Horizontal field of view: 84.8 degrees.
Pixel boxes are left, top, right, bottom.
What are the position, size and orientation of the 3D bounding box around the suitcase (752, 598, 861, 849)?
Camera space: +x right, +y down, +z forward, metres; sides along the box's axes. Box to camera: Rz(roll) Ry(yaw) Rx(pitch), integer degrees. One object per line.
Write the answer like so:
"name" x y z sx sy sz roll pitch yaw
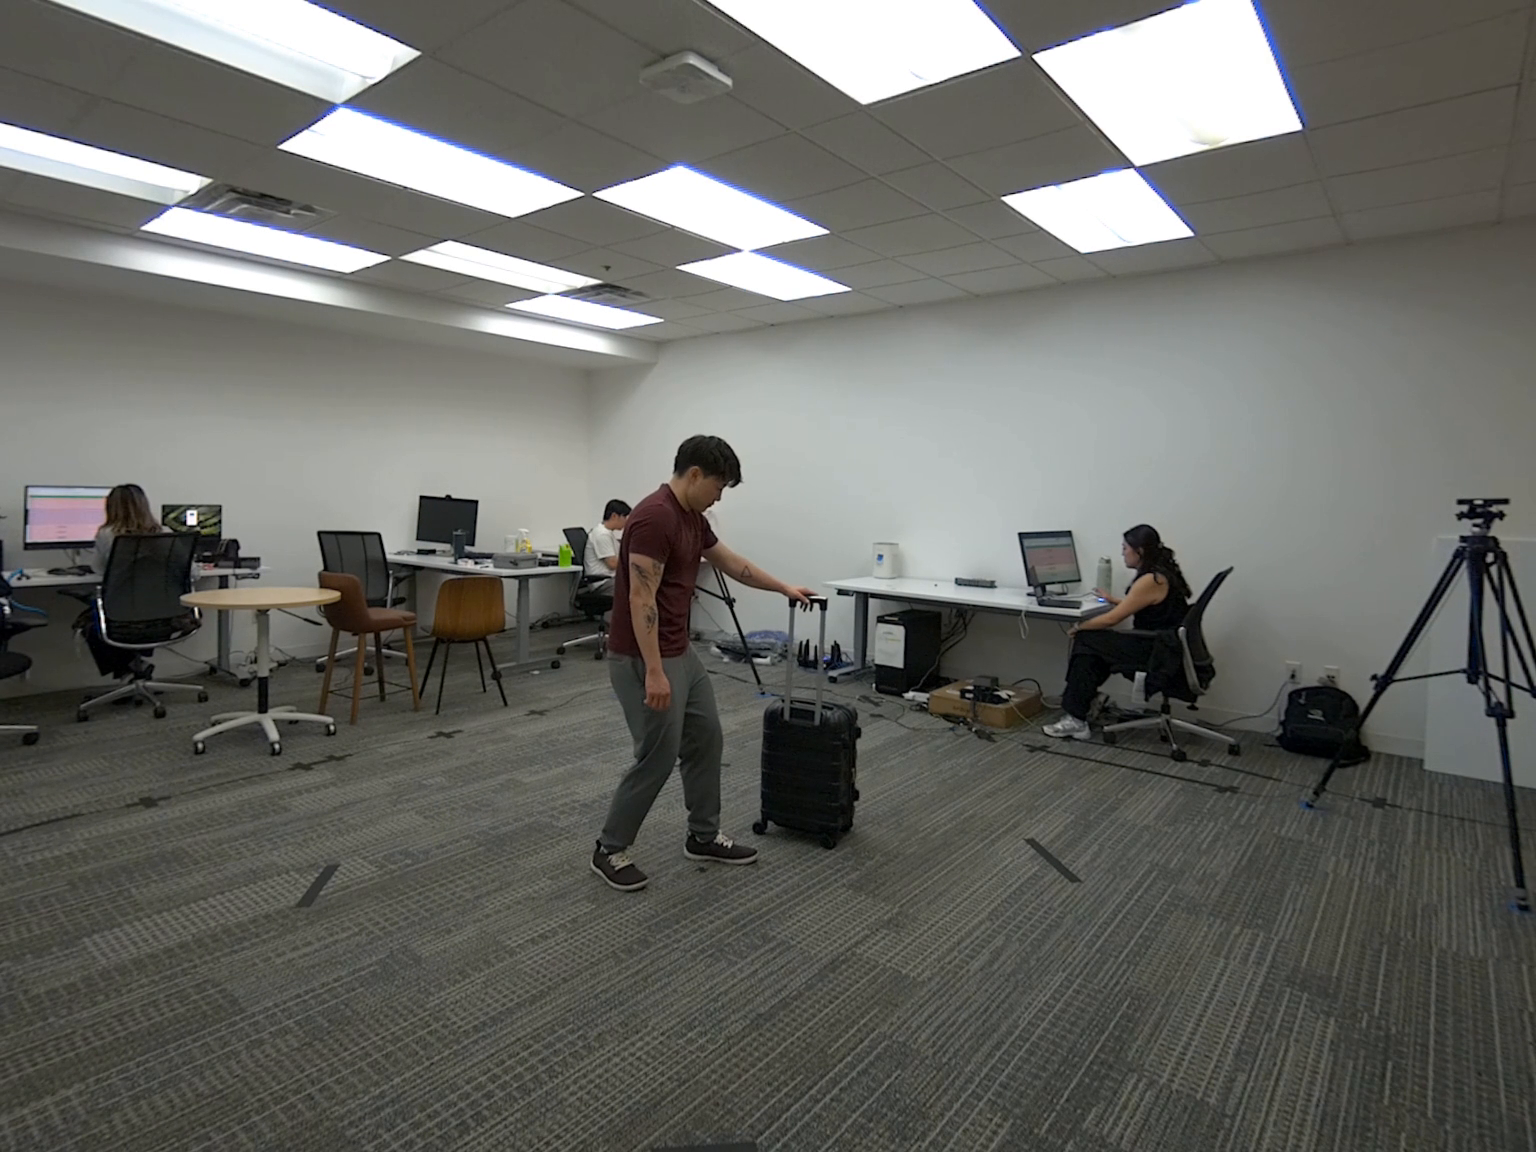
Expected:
"suitcase" 0.170 0.569 3.450 0.395 0.976 0.250 5 3 26
